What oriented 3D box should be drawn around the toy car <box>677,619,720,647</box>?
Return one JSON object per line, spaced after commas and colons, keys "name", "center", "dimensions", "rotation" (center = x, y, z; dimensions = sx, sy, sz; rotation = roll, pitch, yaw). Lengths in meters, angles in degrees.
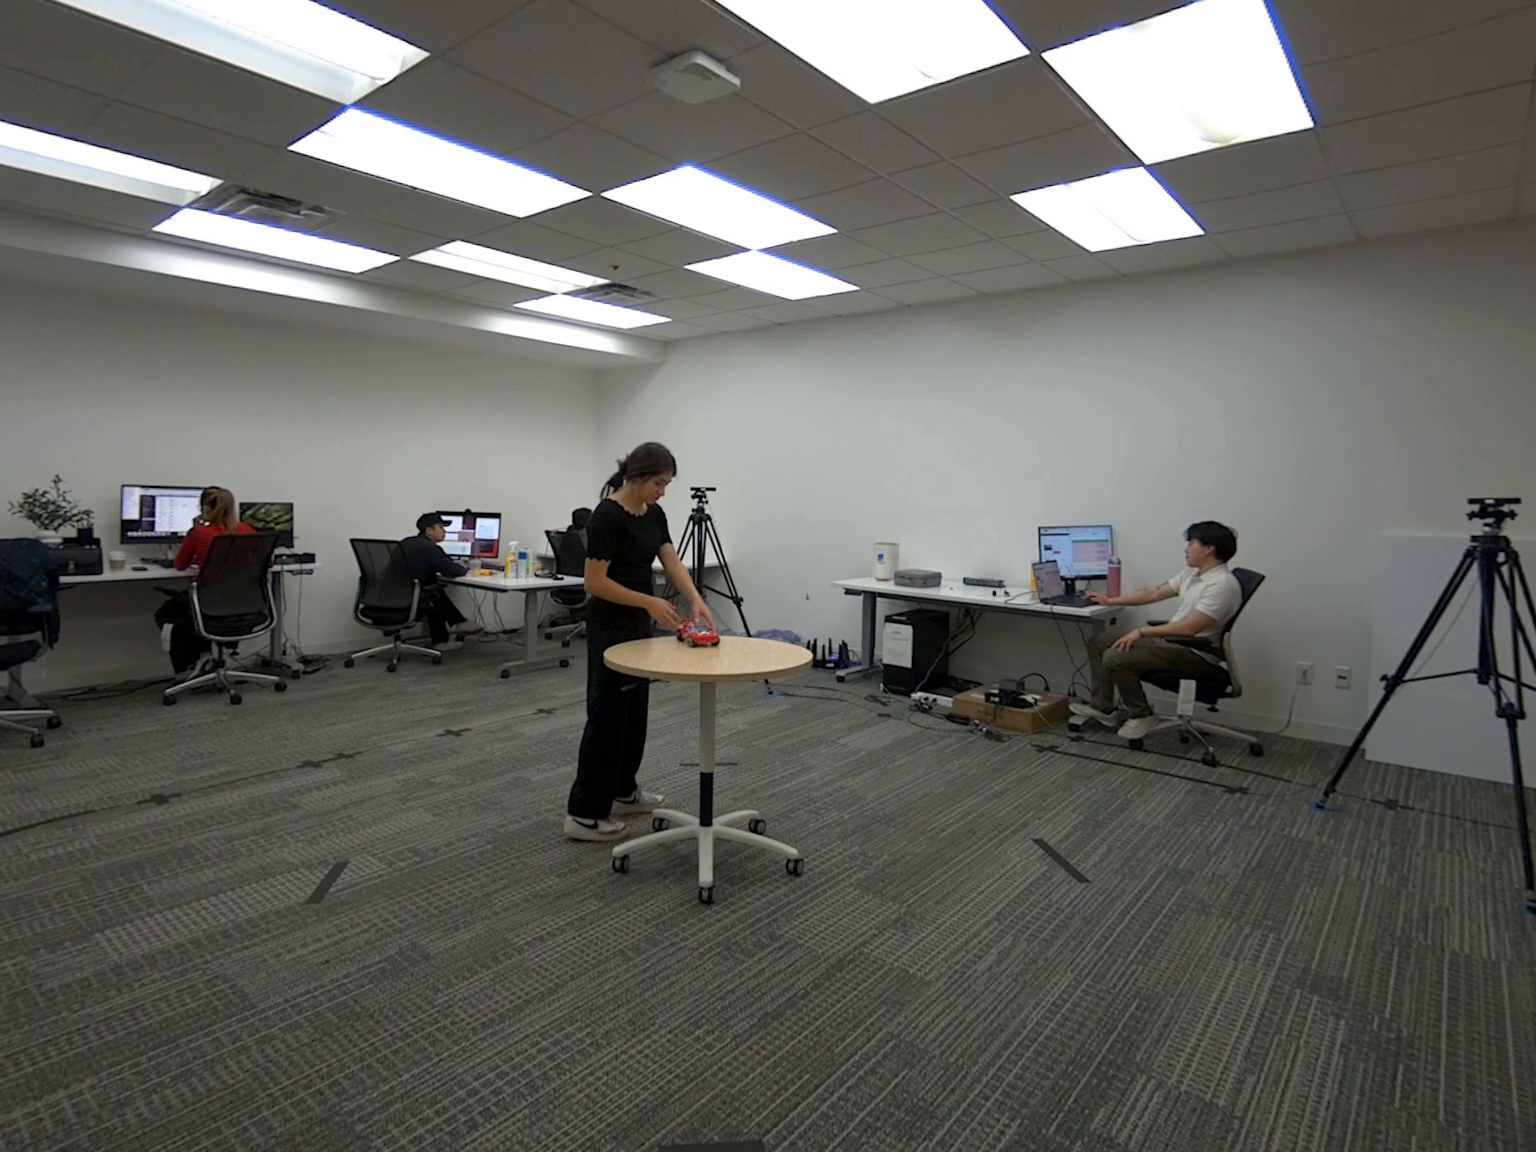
{"name": "toy car", "center": [-0.298, 0.228, 3.347], "dimensions": [0.128, 0.082, 0.263], "rotation": [-1, 16, -21]}
